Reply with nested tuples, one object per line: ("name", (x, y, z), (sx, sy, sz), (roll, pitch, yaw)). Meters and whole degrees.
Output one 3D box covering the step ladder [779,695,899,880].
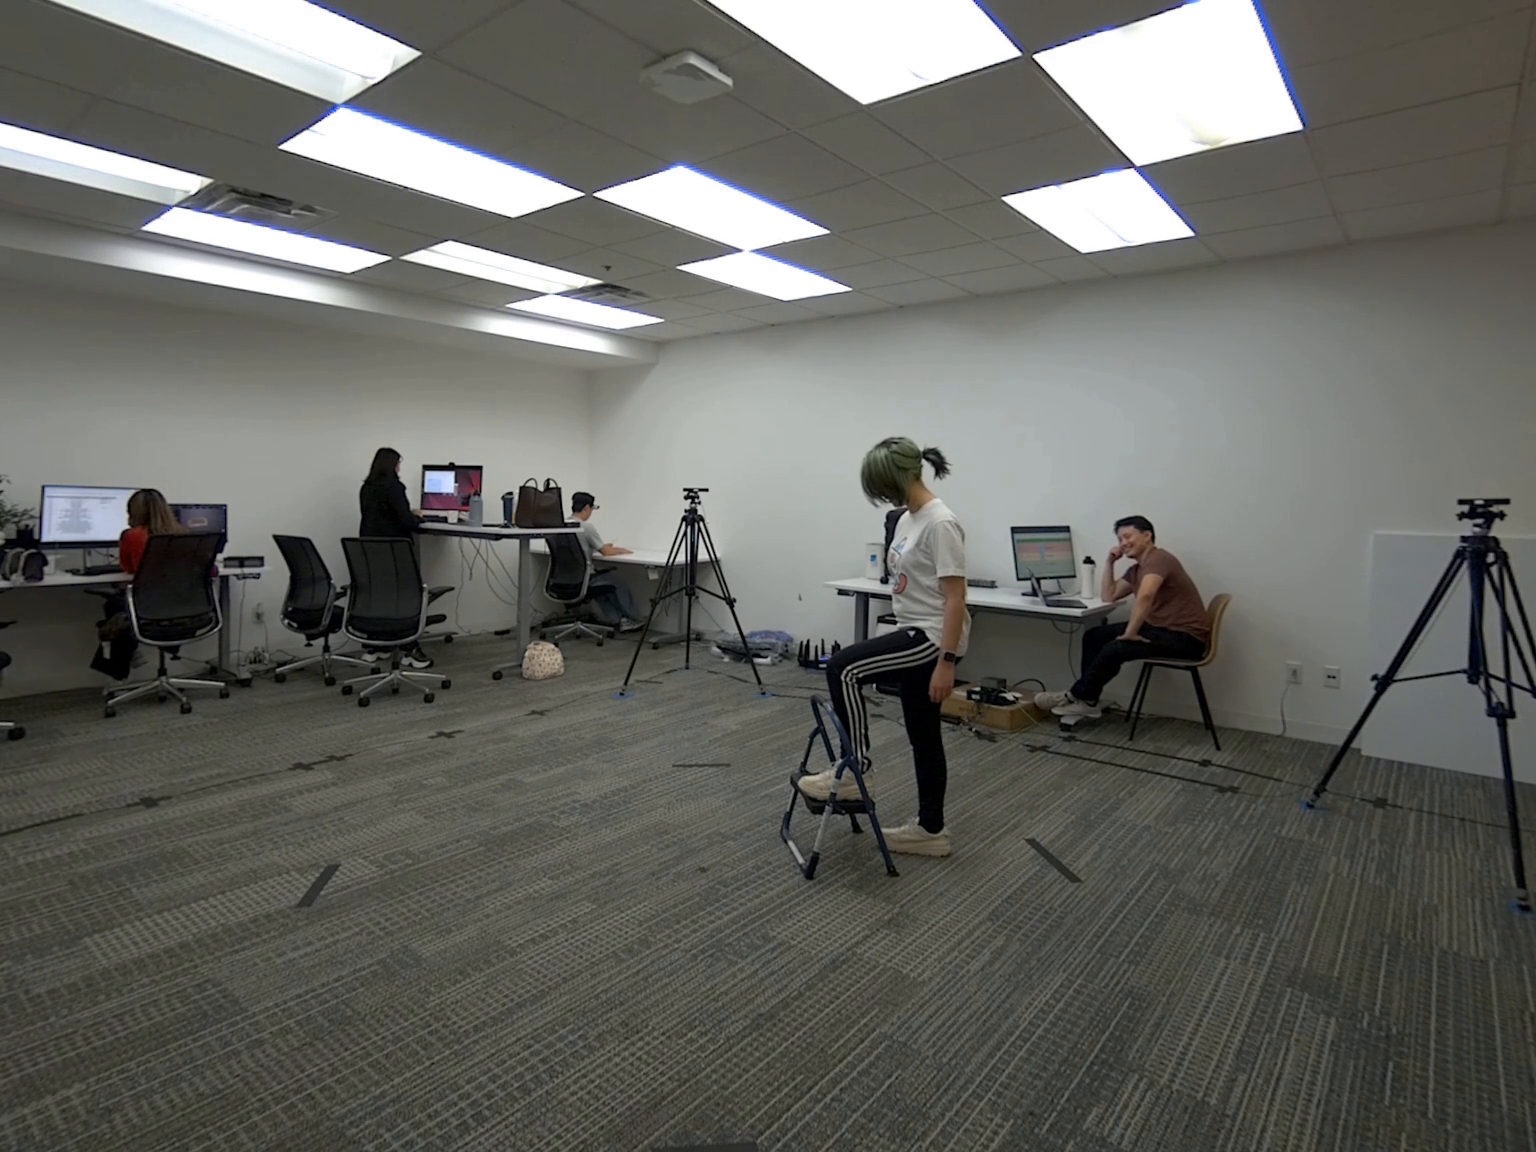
("step ladder", (0.259, 0.769, 3.257), (0.345, 0.604, 0.437), (1, 3, -12))
